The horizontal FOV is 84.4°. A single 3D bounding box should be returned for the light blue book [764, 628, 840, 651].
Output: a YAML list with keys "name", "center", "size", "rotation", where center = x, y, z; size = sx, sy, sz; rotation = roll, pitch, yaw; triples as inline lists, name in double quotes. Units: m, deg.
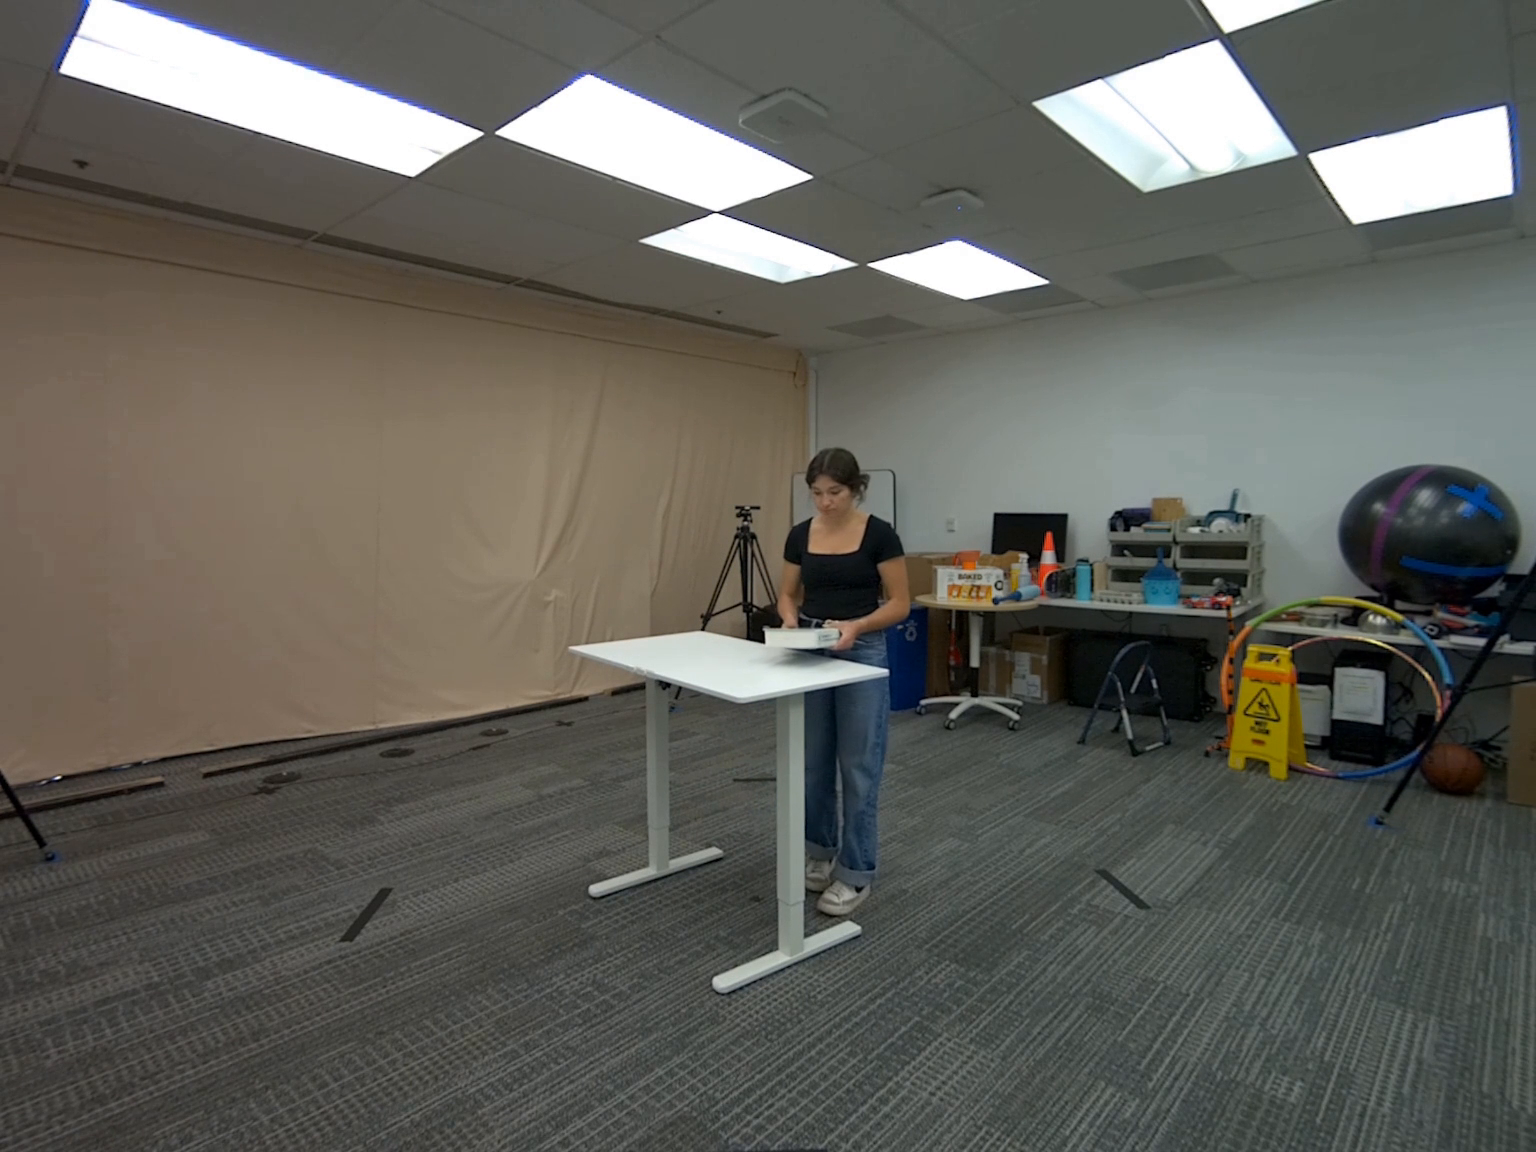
- name: "light blue book"
  center: [0.119, 0.204, 2.778]
  size: [0.196, 0.059, 0.254]
  rotation: [0, -3, 25]
